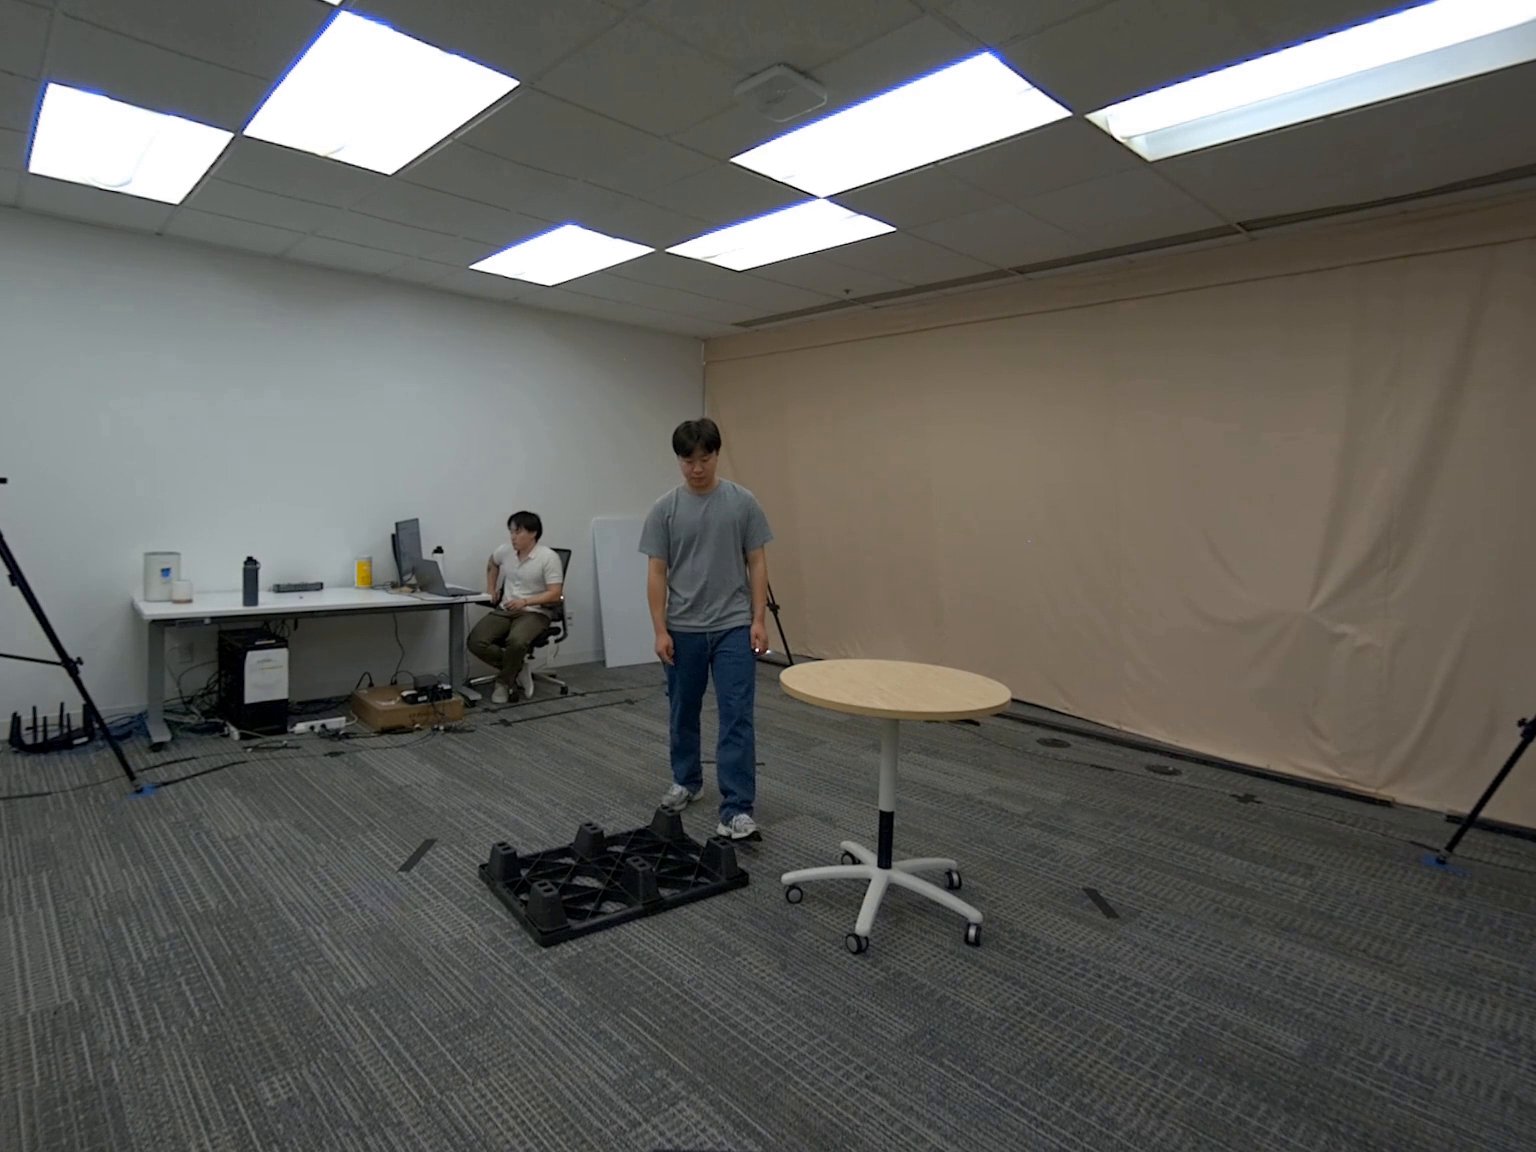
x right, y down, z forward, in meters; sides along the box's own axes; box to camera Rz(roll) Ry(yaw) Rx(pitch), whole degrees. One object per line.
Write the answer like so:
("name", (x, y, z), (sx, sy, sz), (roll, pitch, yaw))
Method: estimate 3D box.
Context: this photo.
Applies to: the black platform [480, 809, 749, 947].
("black platform", (-0.563, 1.038, 3.031), (0.788, 0.143, 0.620), (-3, 6, -37))
